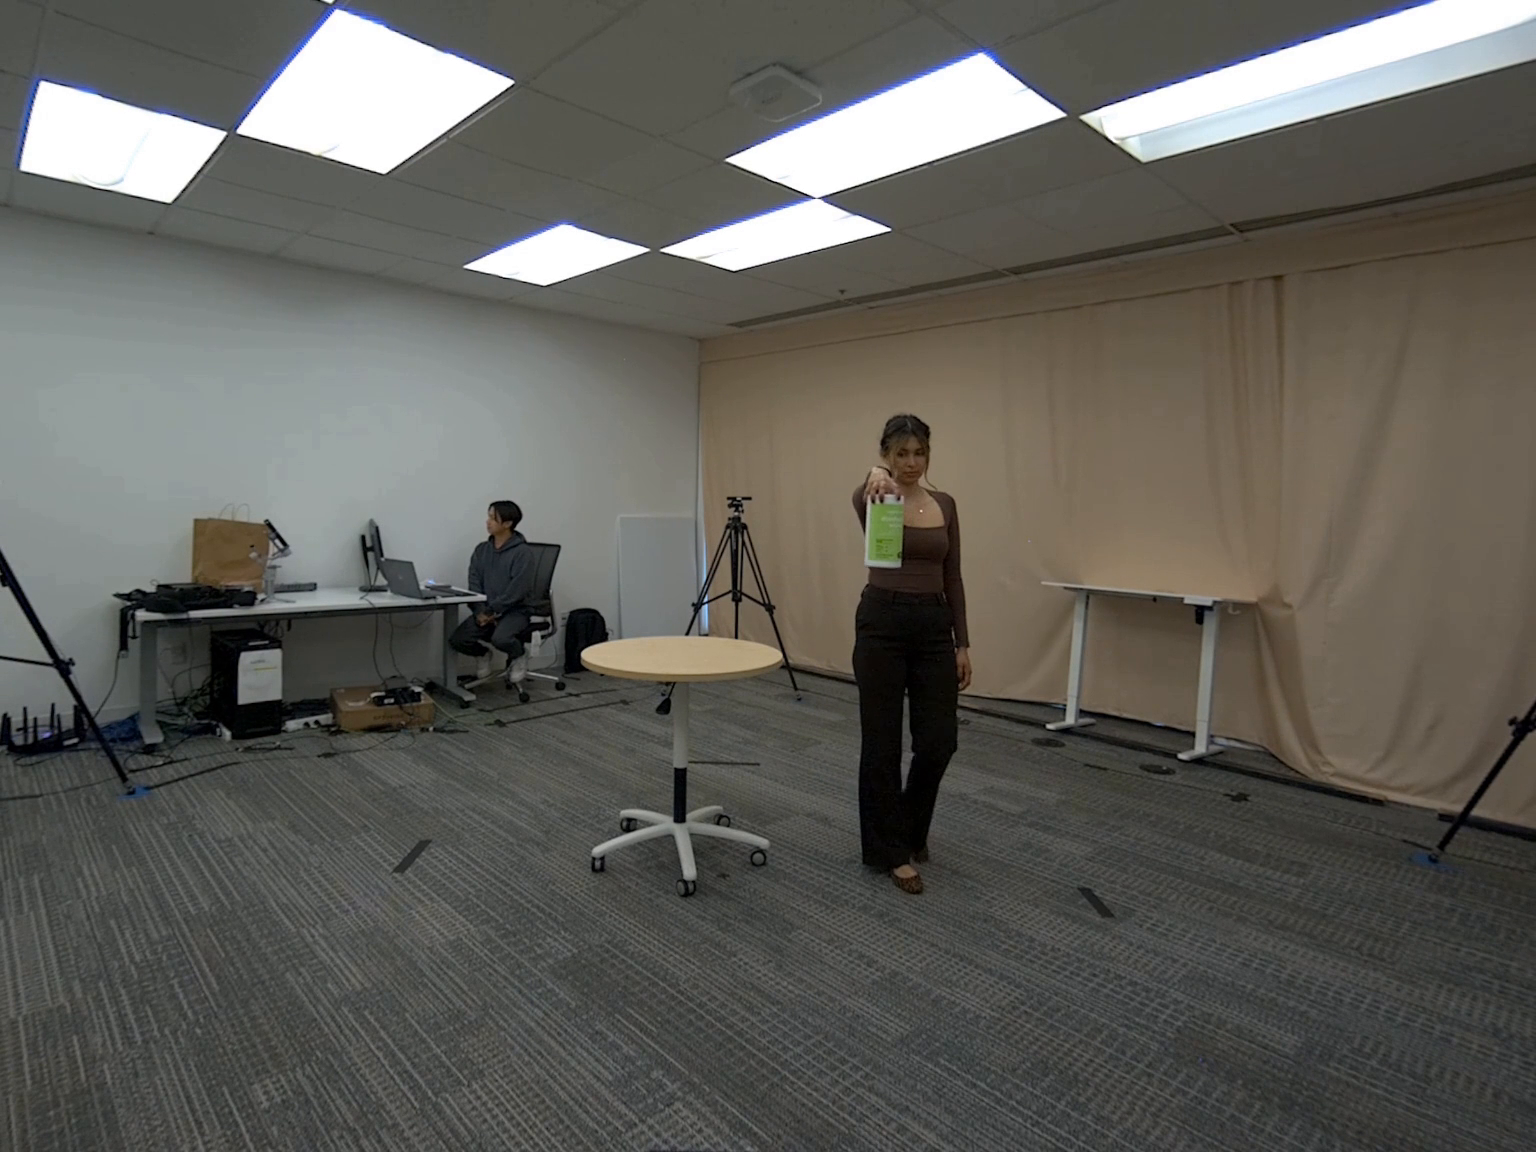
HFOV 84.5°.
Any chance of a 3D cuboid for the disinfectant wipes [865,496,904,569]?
[{"bbox_3d":[0.337,-0.131,2.494,0.118,0.217,0.118,-1,3,-1],"label":"disinfectant wipes"}]
